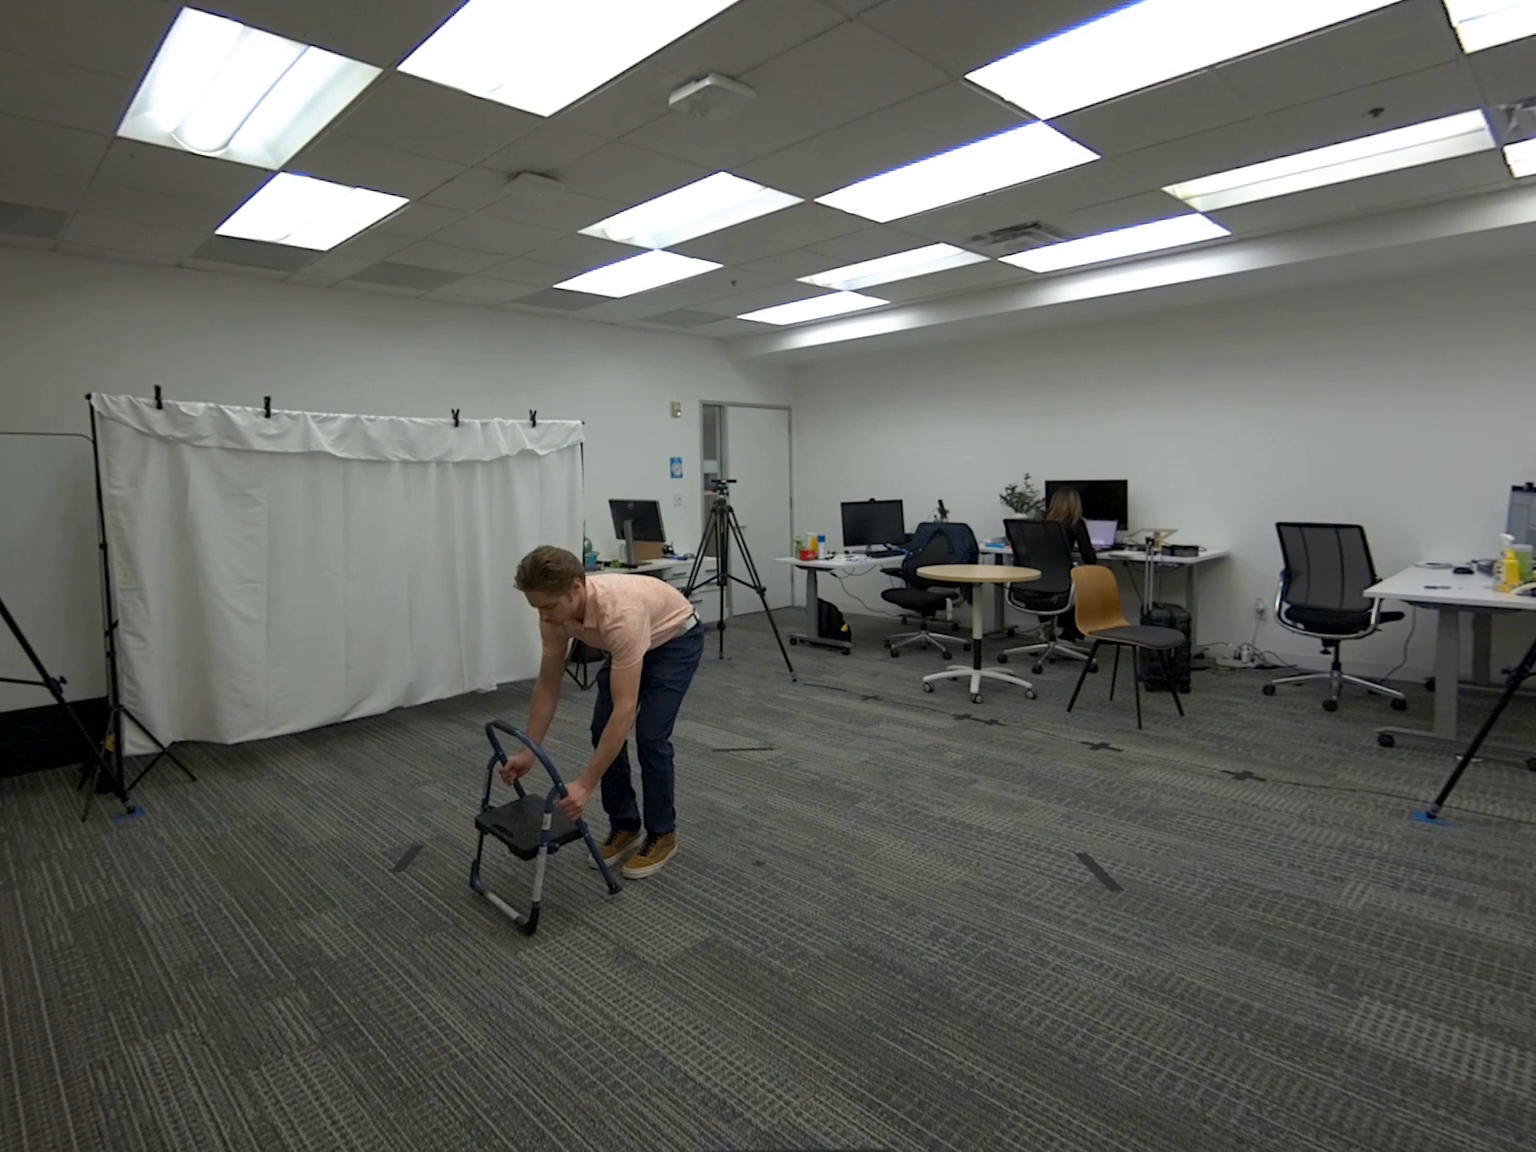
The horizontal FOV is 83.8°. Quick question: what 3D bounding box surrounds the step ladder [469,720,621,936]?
[{"bbox_3d":[-0.777,0.768,2.851,0.341,0.601,0.444,-12,12,-44],"label":"step ladder"}]
